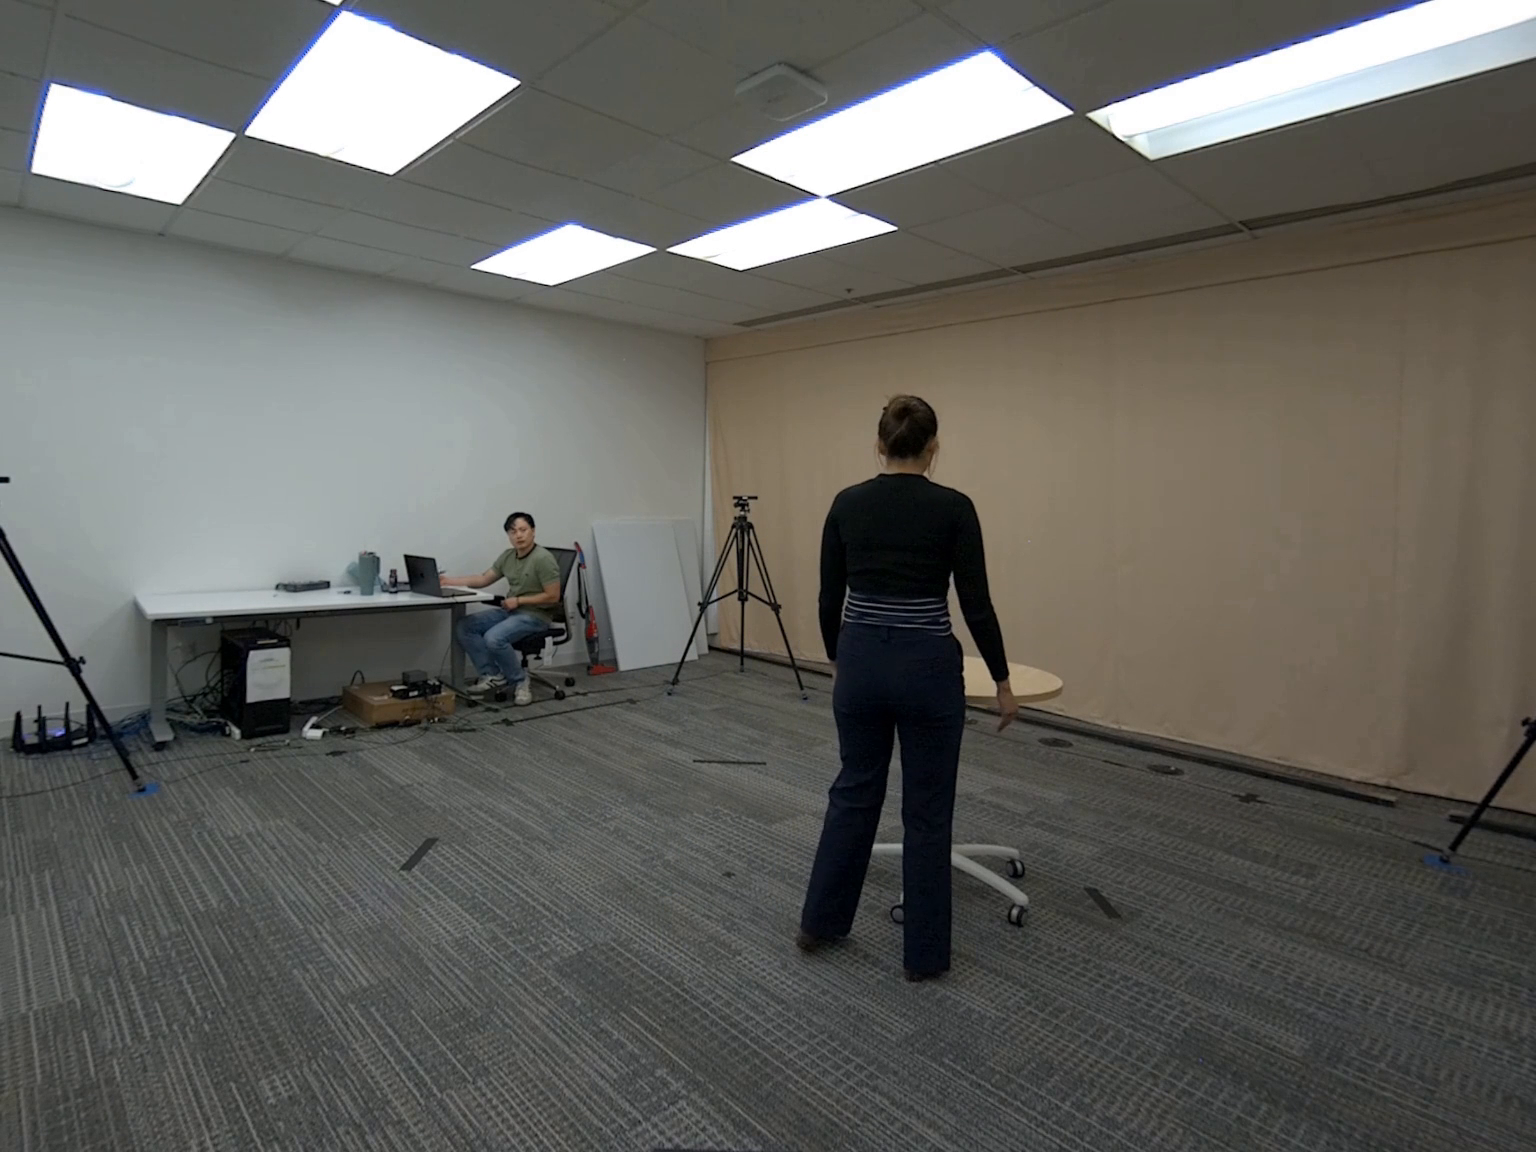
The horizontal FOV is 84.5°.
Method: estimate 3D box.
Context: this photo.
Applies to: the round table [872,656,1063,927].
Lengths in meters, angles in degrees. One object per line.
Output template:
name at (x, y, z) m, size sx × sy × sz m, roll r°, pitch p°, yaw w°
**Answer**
round table at (0.629, 0.739, 3.040) m, size 0.763 × 0.792 × 0.766 m, roll 2°, pitch 4°, yaw -2°
